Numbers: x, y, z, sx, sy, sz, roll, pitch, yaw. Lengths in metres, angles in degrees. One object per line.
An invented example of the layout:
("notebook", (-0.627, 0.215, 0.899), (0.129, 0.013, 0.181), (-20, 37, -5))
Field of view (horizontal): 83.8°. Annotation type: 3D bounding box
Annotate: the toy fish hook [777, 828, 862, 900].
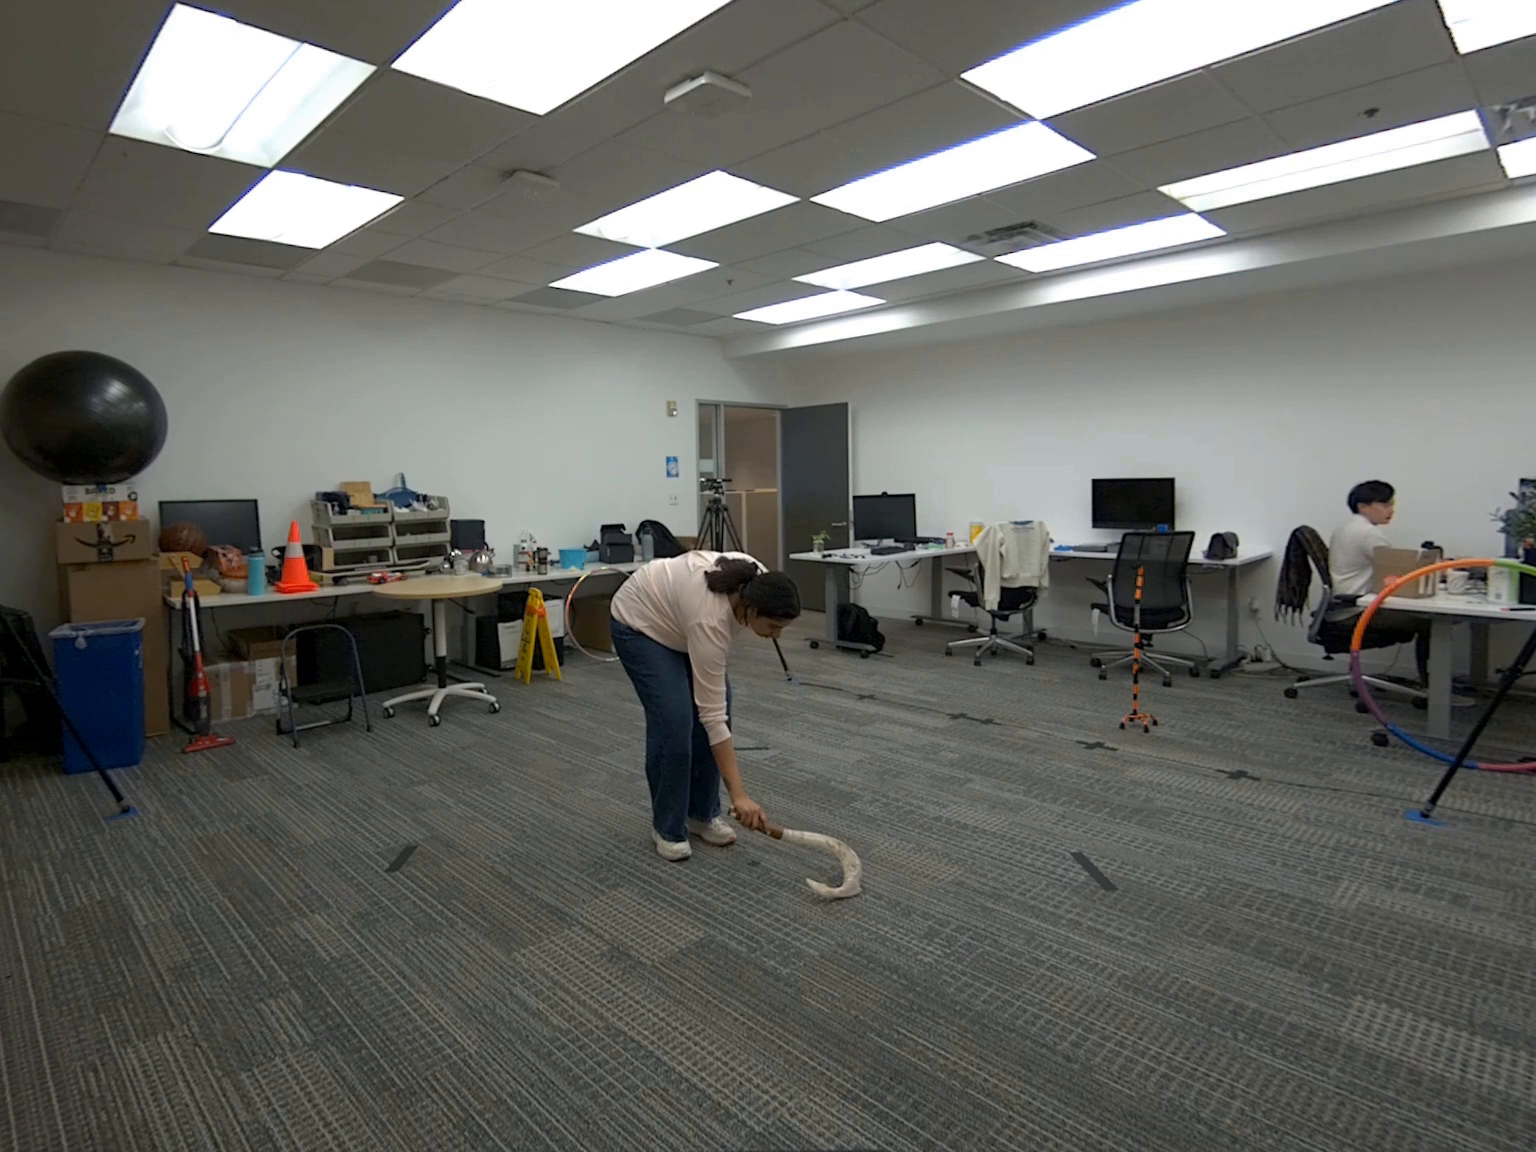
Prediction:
("toy fish hook", (0.089, 0.929, 2.885), (0.505, 0.048, 0.228), (23, 33, -2))
